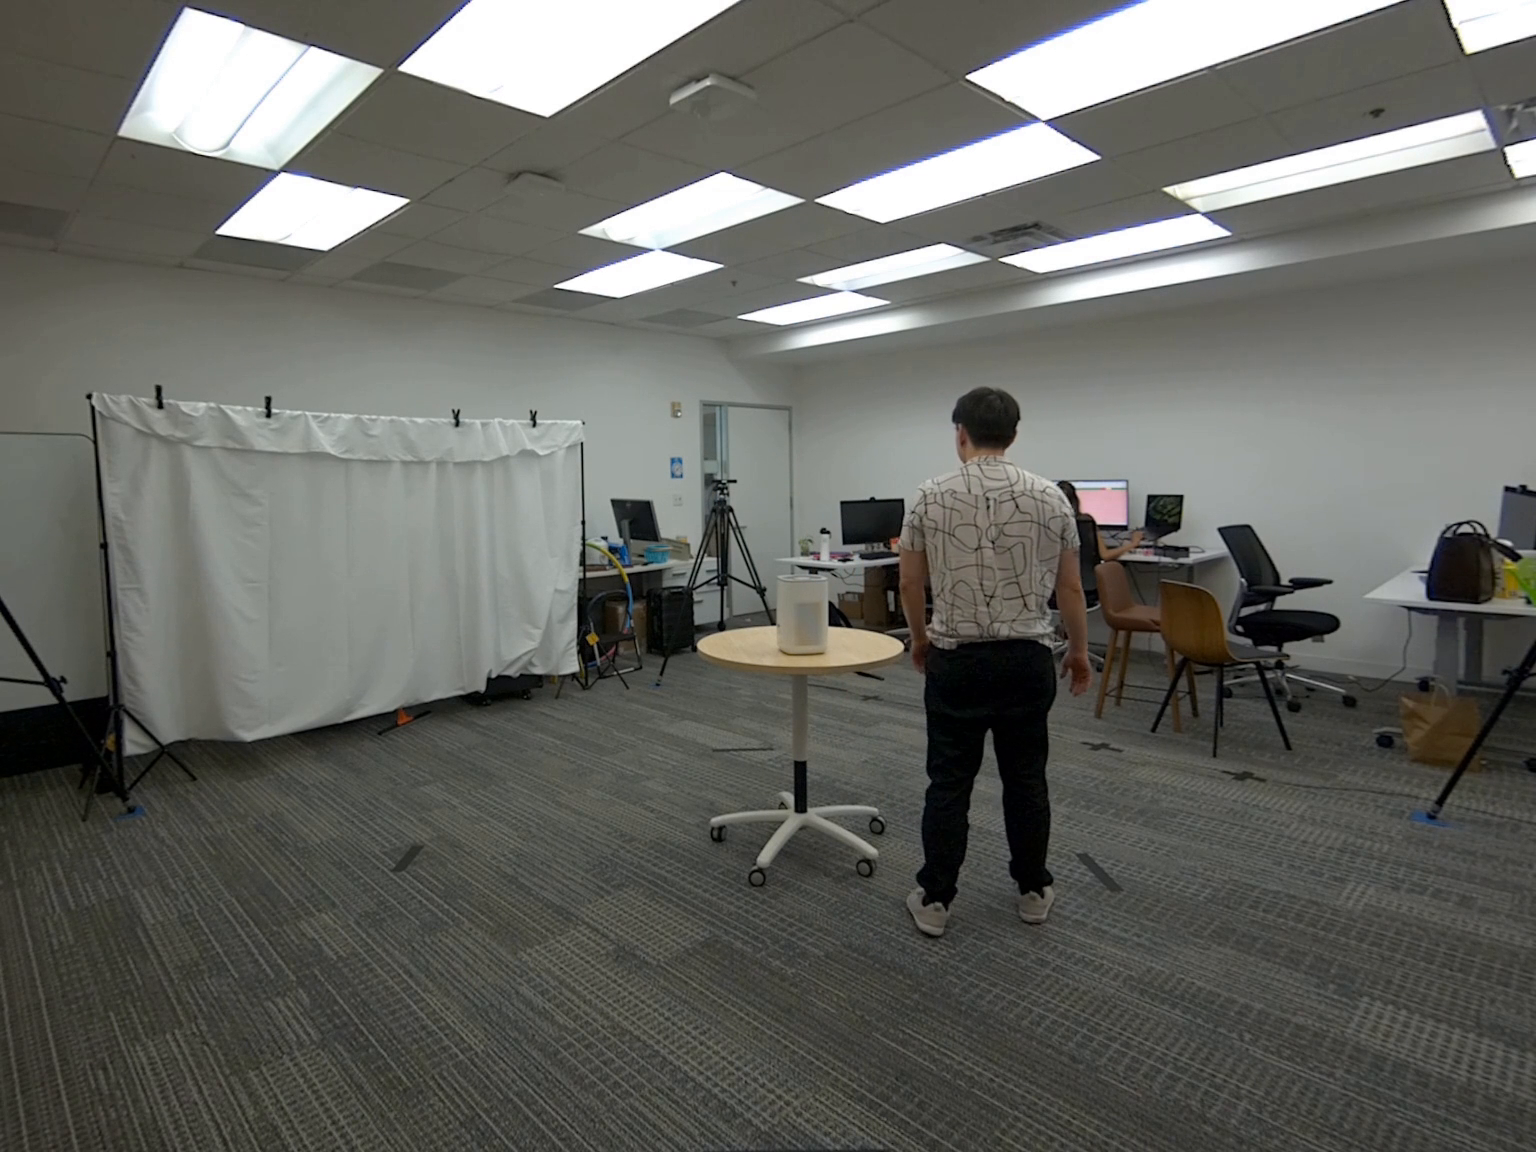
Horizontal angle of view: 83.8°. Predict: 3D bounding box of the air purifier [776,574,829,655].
[{"bbox_3d":[0.127,0.138,3.052,0.170,0.264,0.173,-1,5,-10],"label":"air purifier"}]
